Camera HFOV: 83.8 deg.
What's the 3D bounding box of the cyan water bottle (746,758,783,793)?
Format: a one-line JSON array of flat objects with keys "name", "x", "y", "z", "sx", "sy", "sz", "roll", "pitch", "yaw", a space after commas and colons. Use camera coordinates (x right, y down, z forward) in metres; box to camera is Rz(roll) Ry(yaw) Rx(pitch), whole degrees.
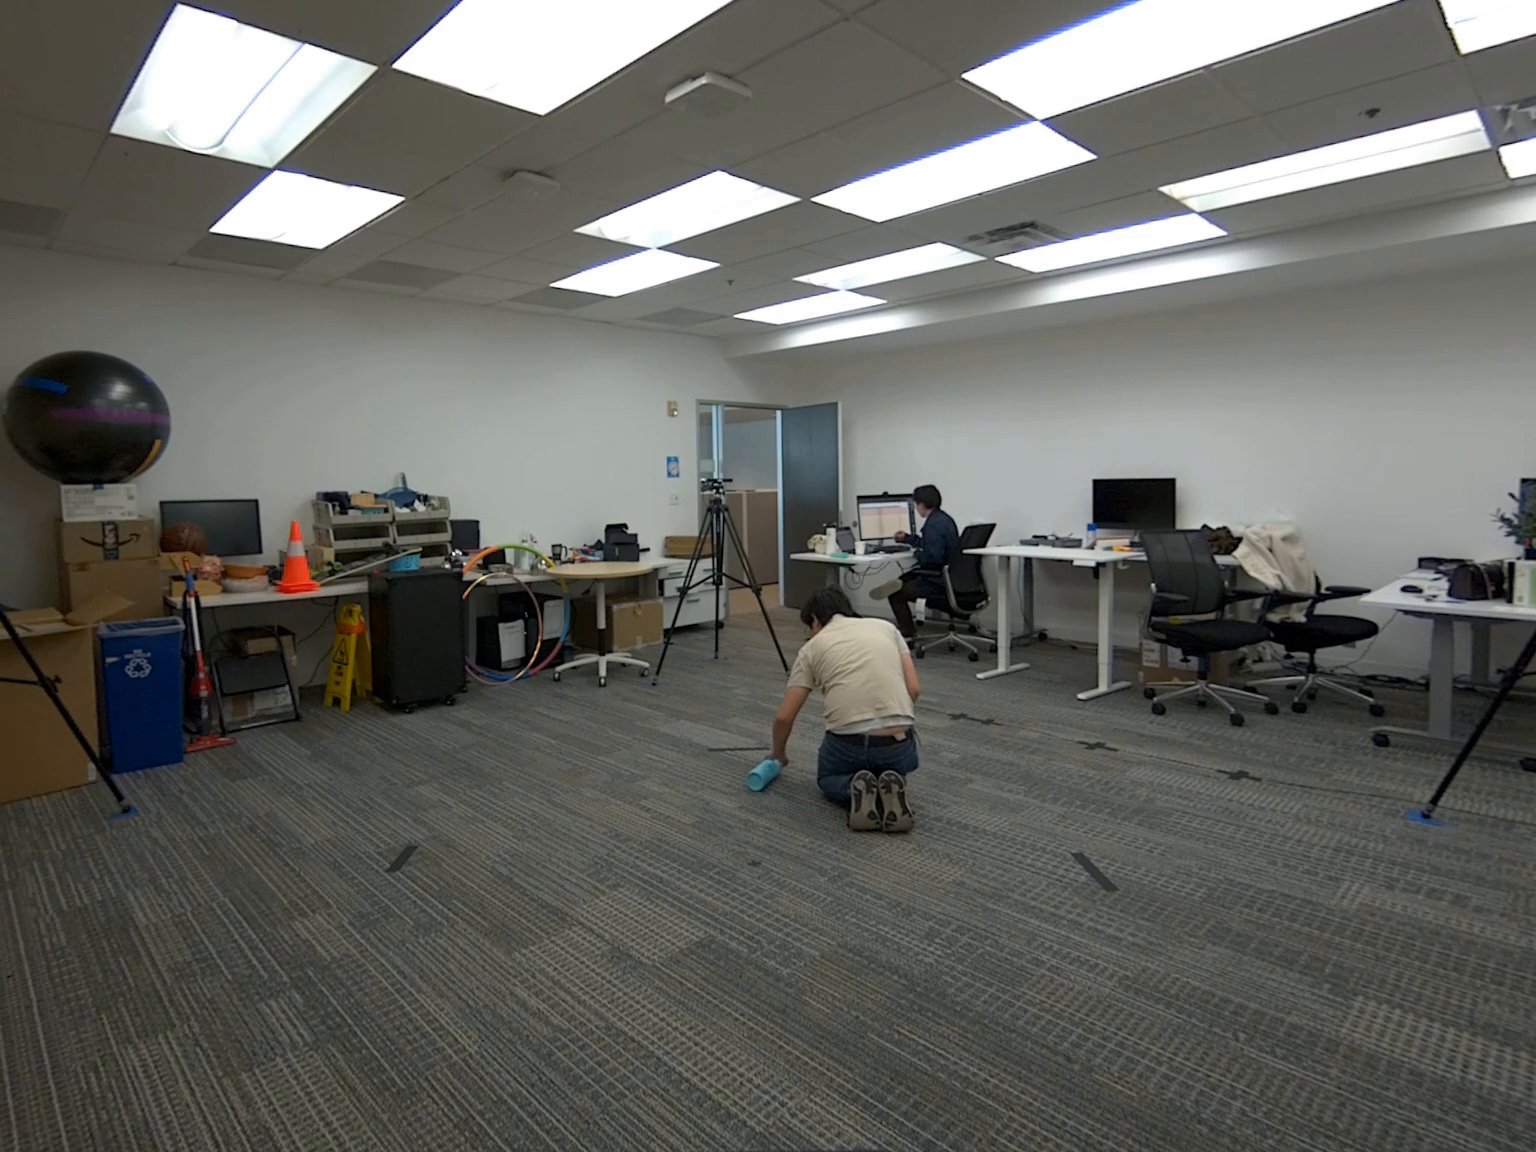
[{"name": "cyan water bottle", "x": -0.003, "y": 0.901, "z": 3.944, "sx": 0.094, "sy": 0.092, "sz": 0.279, "roll": 0, "pitch": 4, "yaw": 16}]
